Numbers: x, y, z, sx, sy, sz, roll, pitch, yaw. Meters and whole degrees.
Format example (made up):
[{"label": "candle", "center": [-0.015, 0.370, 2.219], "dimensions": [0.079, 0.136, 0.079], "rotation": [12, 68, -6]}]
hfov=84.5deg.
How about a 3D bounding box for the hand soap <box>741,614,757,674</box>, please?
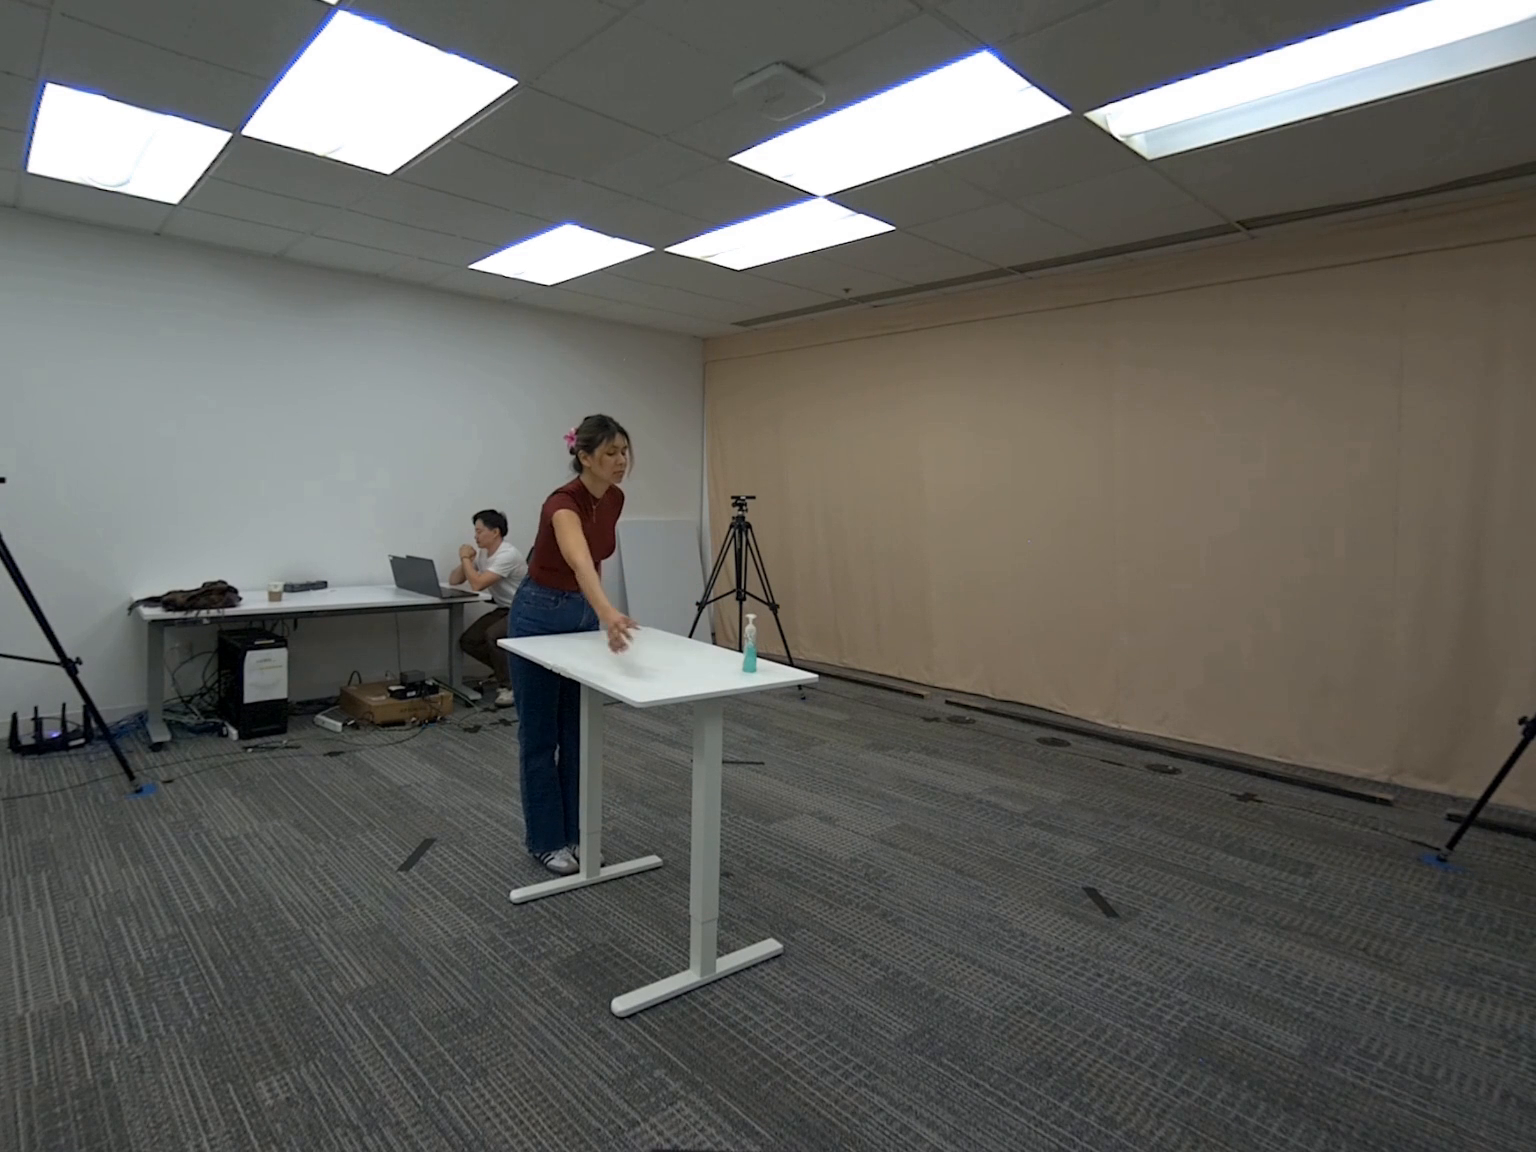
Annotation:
[{"label": "hand soap", "center": [-0.062, 0.198, 2.480], "dimensions": [0.043, 0.168, 0.085], "rotation": [3, 4, 0]}]
